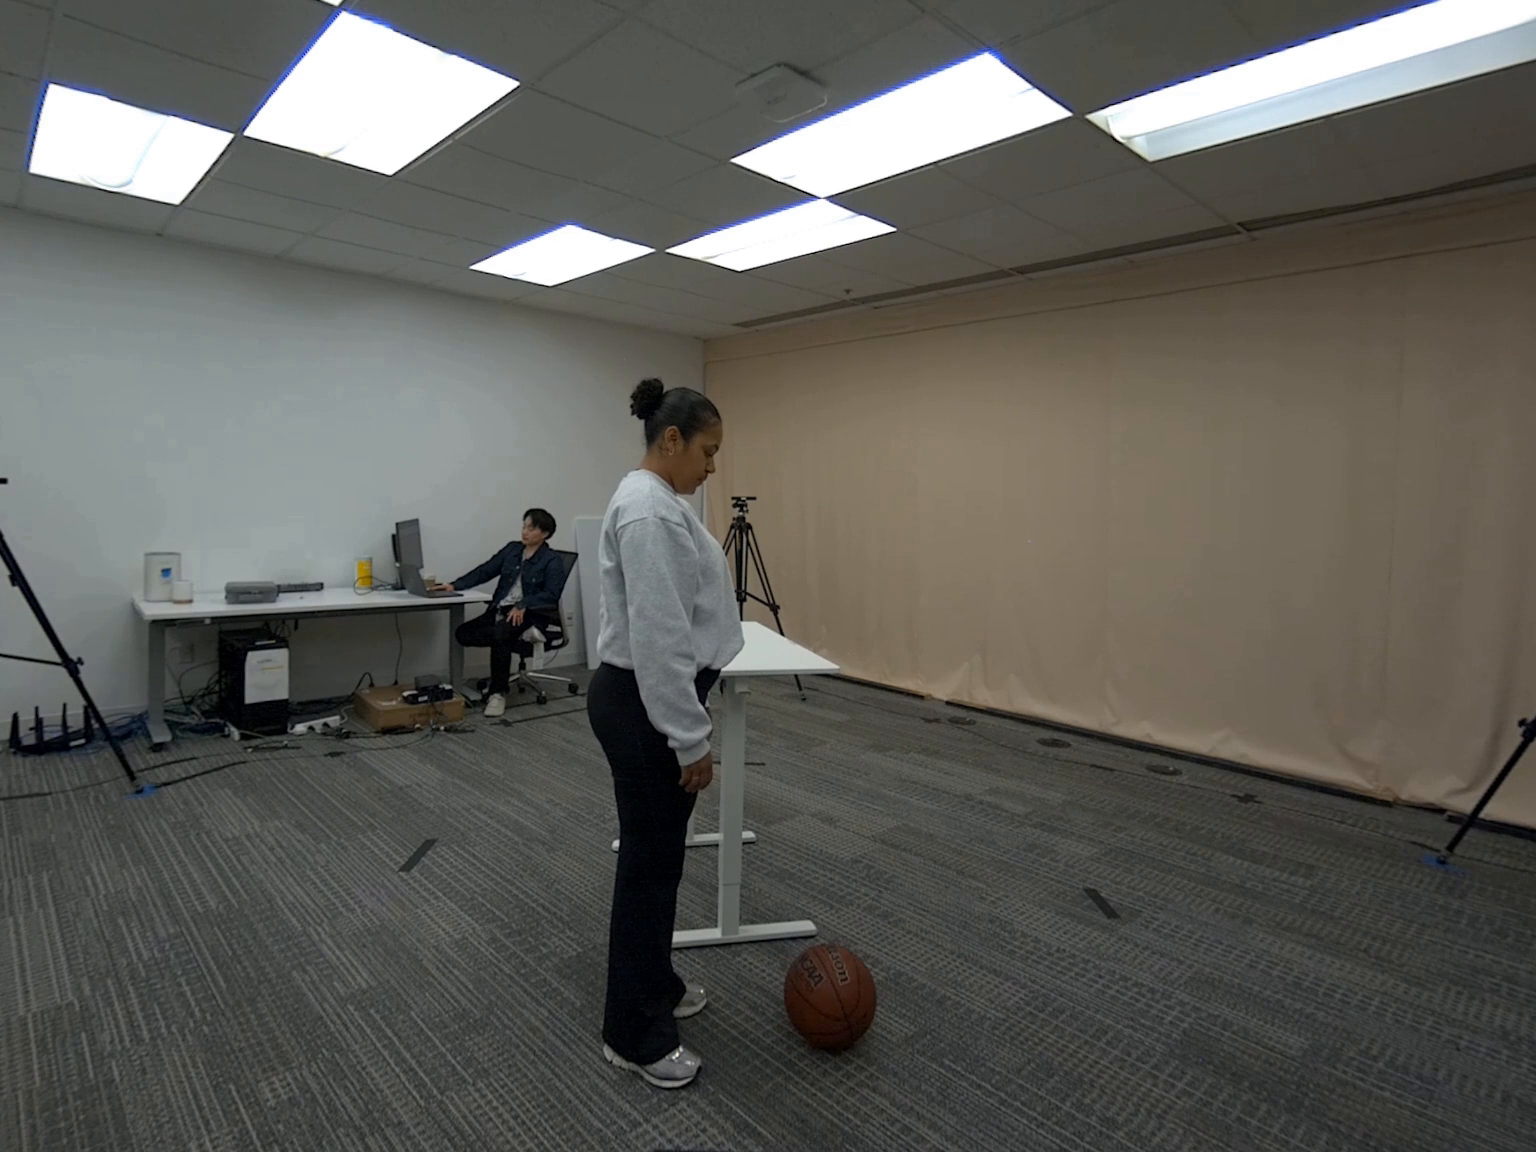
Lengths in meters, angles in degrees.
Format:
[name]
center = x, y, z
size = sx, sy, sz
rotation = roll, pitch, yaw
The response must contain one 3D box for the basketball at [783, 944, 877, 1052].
[basketball]
center = 0.154, 1.082, 2.166
size = 0.236, 0.235, 0.237
rotation = 1, 4, -1
